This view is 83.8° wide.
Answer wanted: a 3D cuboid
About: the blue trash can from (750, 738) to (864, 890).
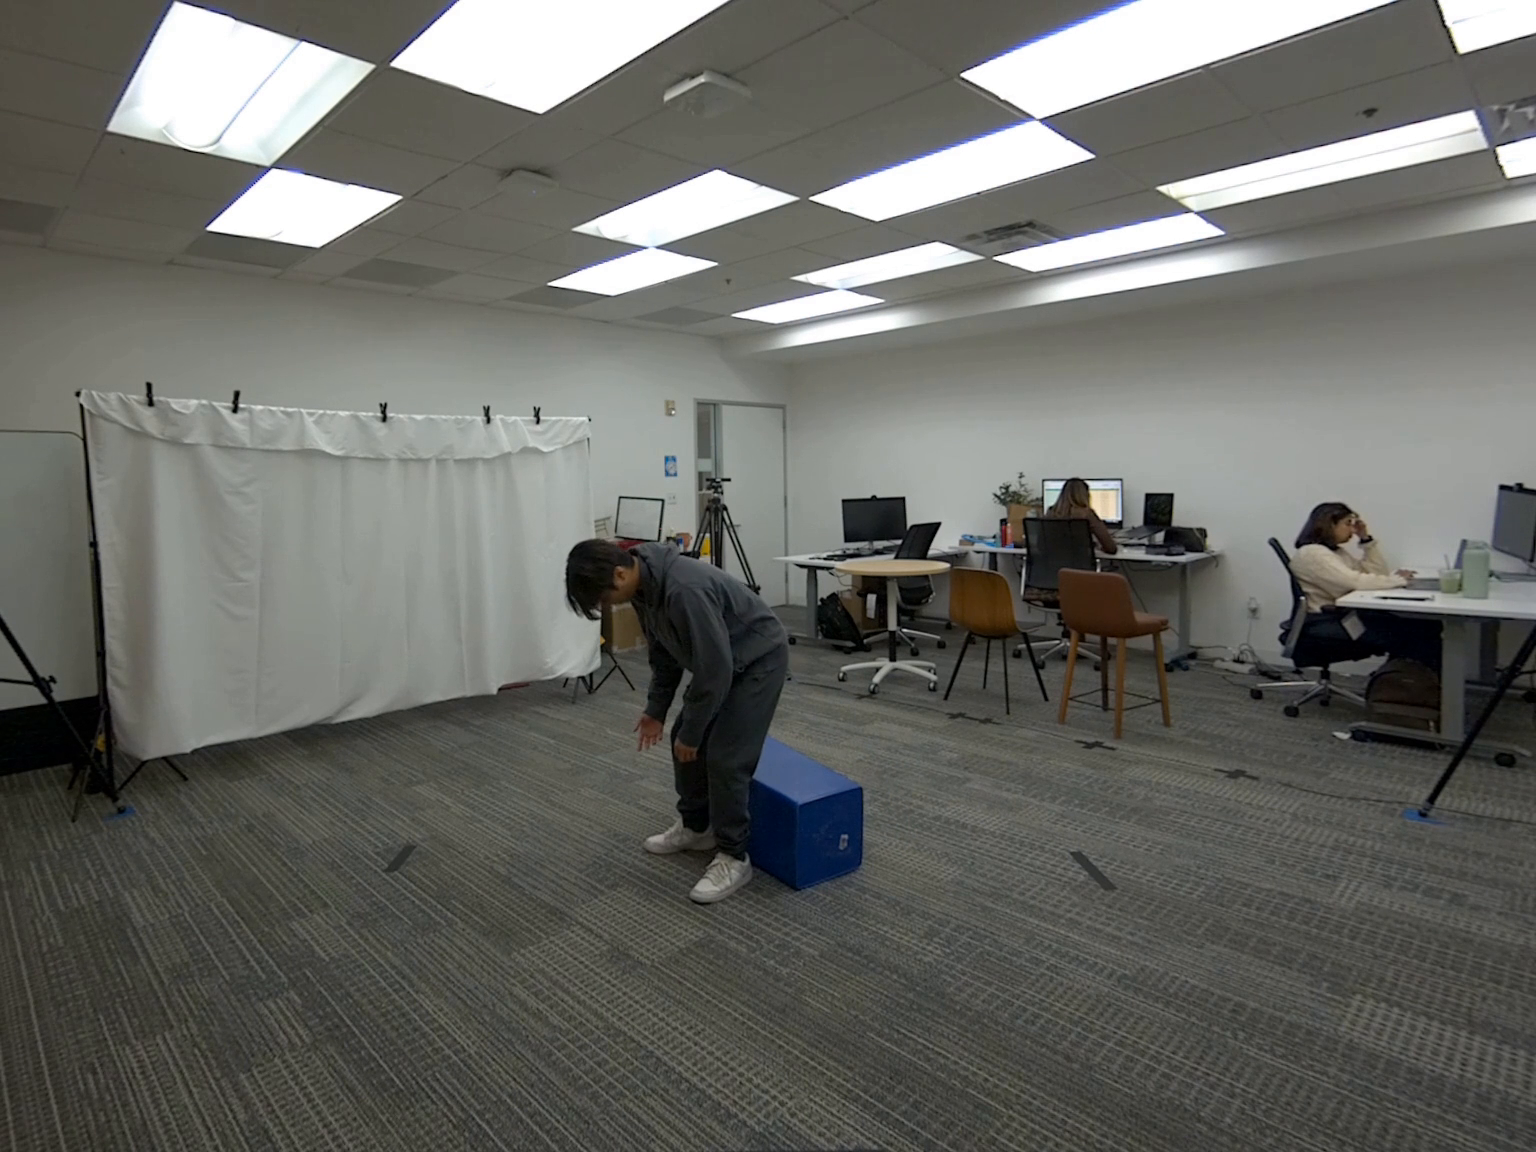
[{"bbox_3d":[0.012,0.855,3.247,0.365,0.376,0.736,-4,9,-35],"label":"blue trash can"}]
